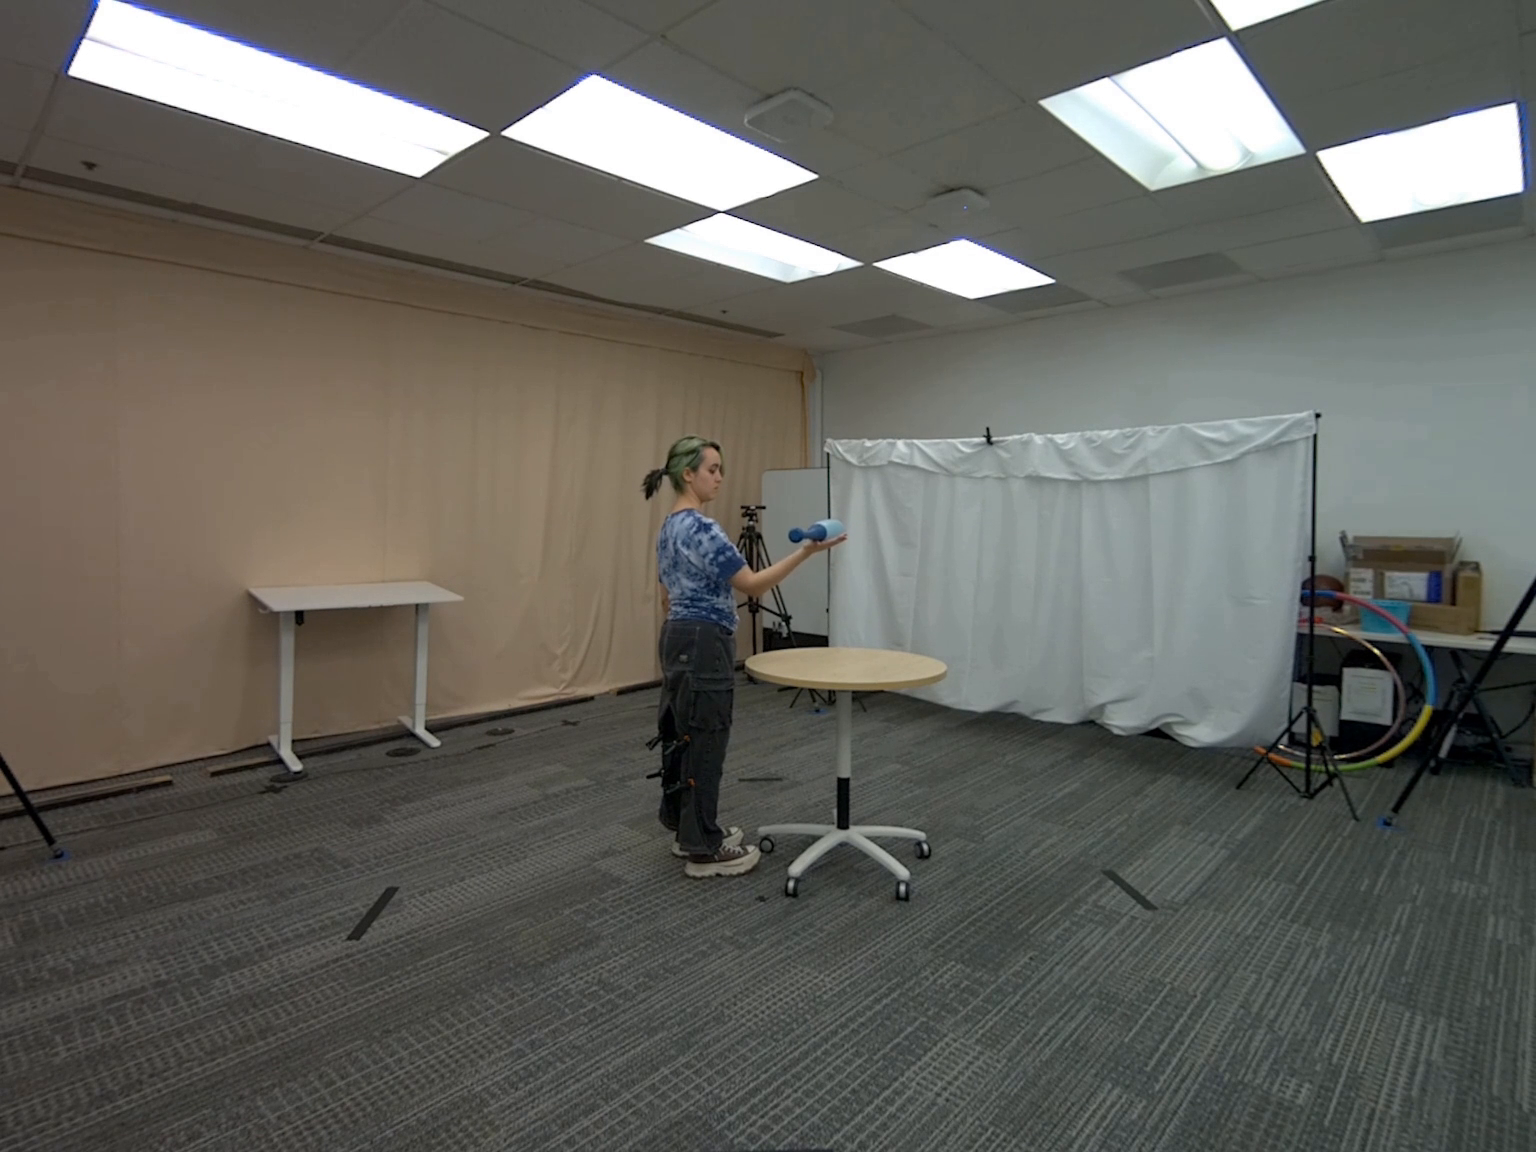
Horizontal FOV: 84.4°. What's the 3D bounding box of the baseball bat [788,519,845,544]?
[{"bbox_3d":[0.172,-0.152,2.971,0.091,0.089,0.533,1,5,17],"label":"baseball bat"}]
